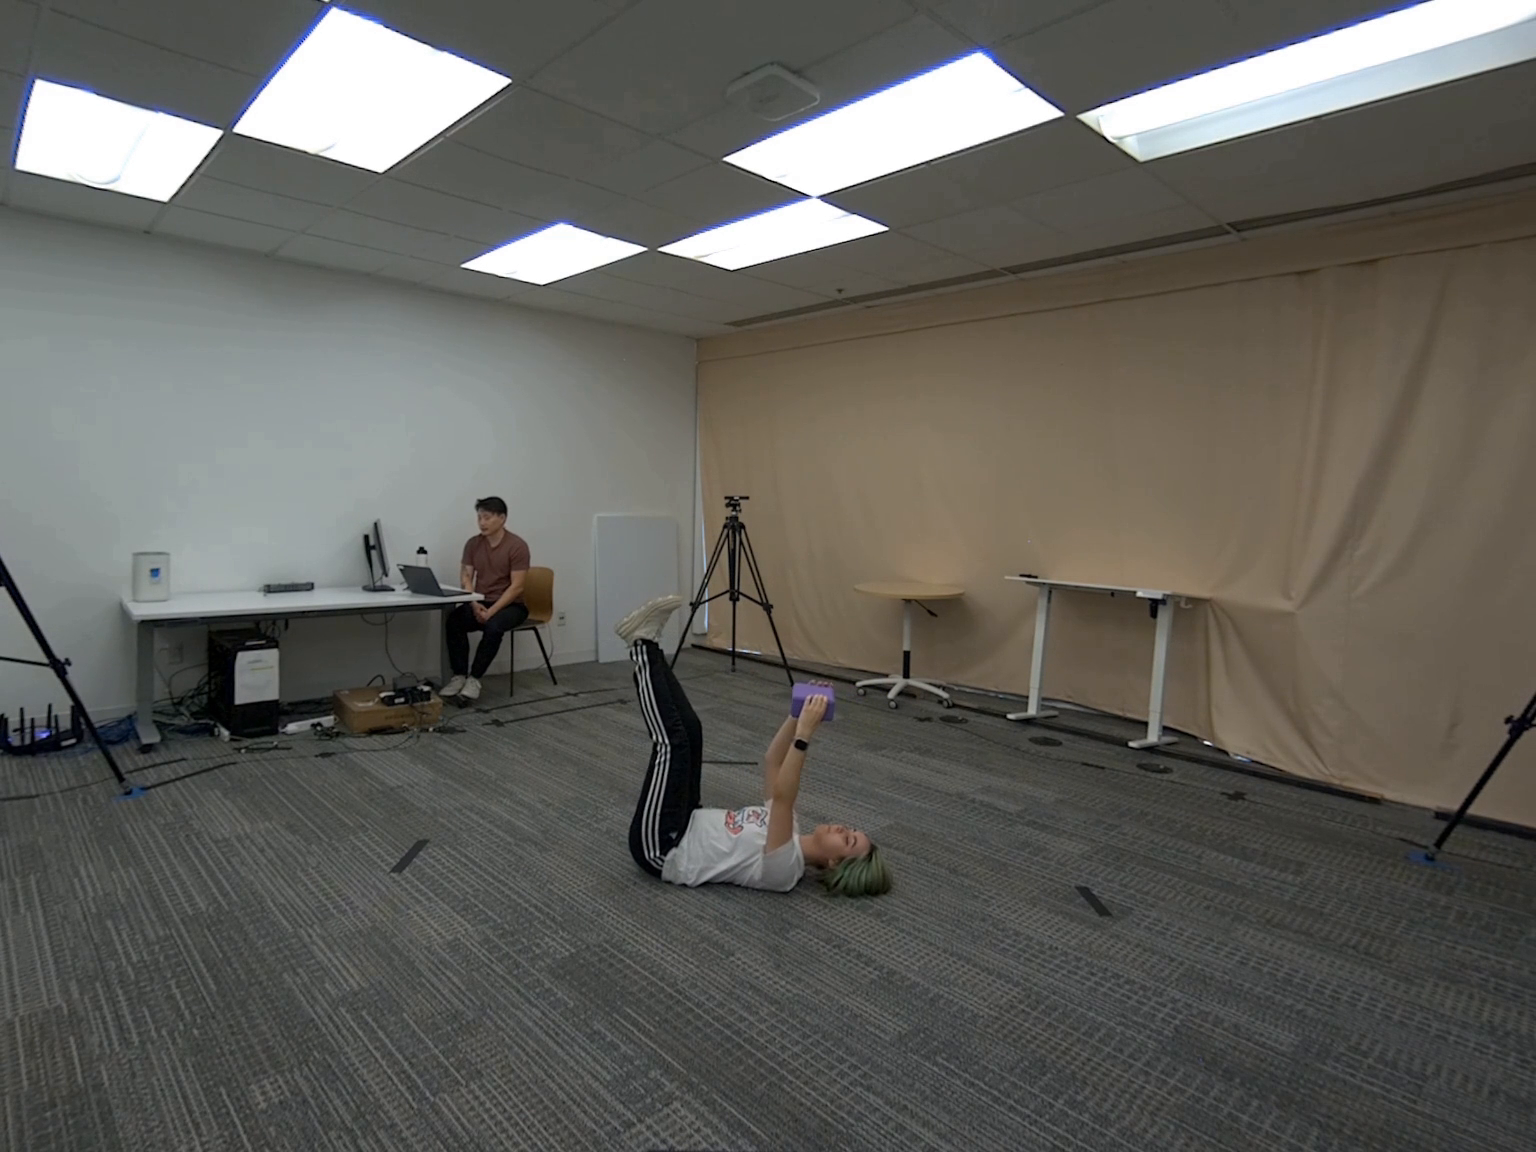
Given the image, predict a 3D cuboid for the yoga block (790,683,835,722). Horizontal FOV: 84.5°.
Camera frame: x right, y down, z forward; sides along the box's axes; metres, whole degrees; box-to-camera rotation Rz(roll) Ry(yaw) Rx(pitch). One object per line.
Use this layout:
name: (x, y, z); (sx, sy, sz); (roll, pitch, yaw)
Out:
yoga block: (0.167, 0.456, 3.029); (0.149, 0.076, 0.229); (5, 7, 3)
